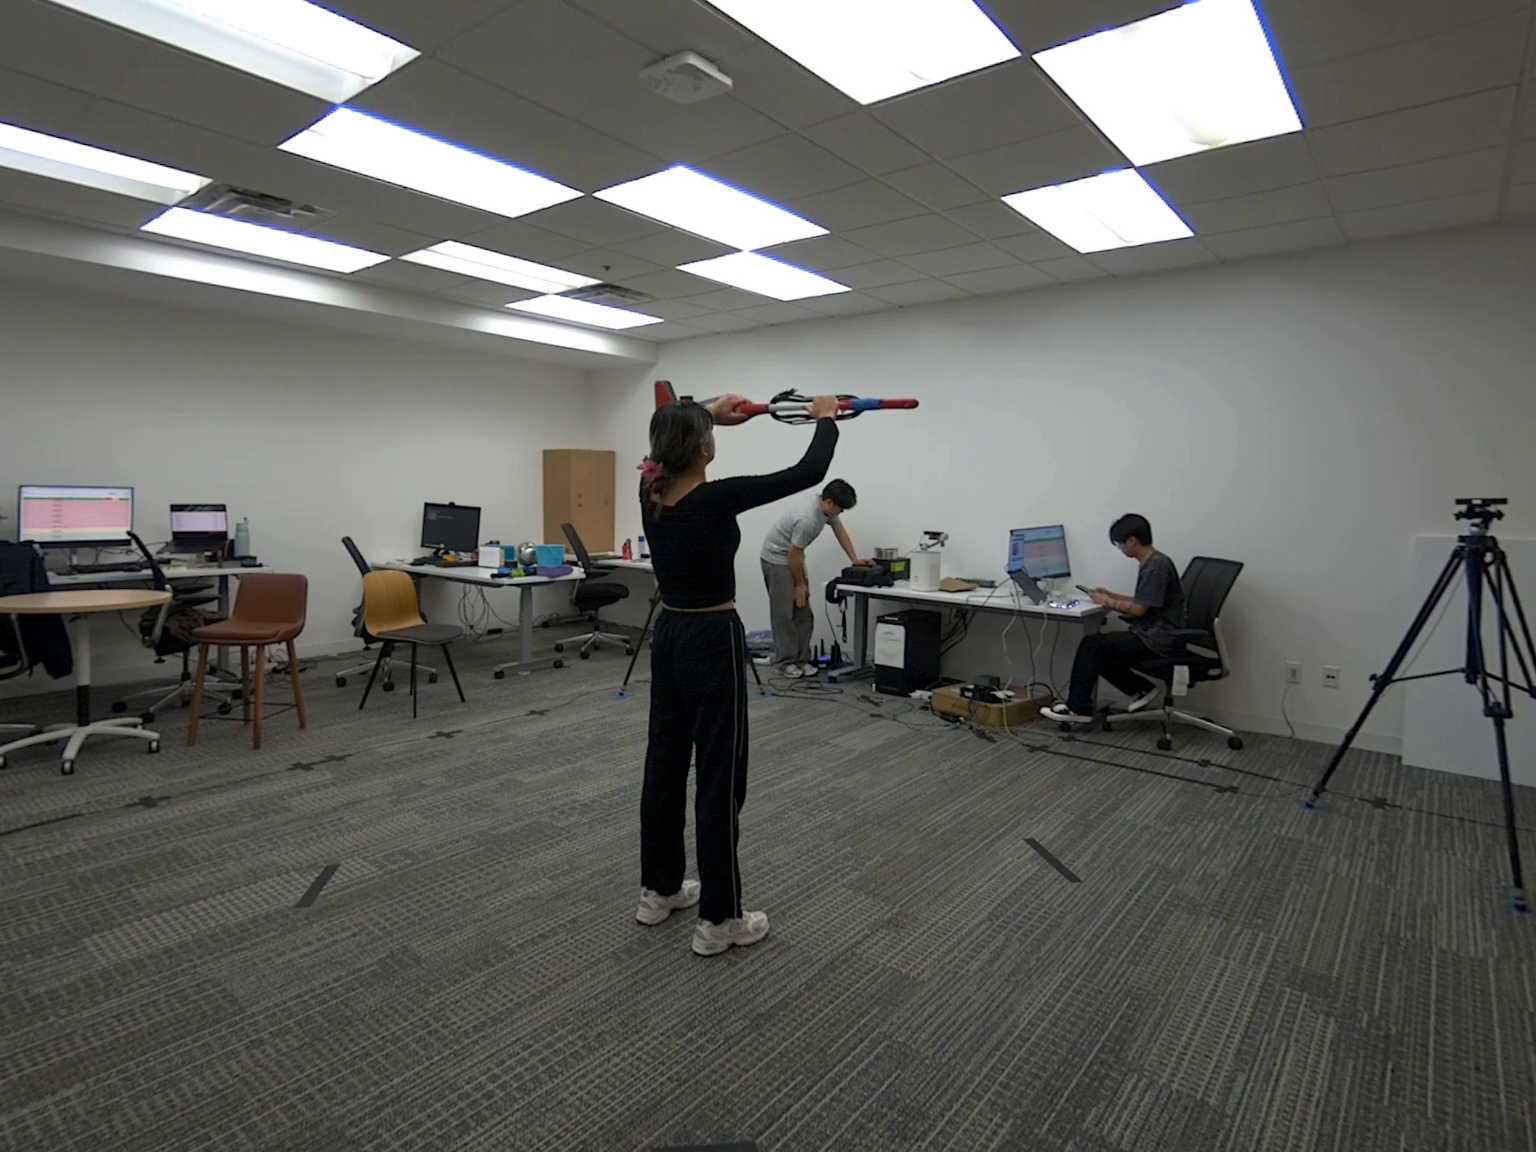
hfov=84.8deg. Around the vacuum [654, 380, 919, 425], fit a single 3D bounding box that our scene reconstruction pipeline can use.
[{"bbox_3d":[0.020,-0.564,2.896,1.086,0.250,0.140,8,13,42],"label":"vacuum"}]
